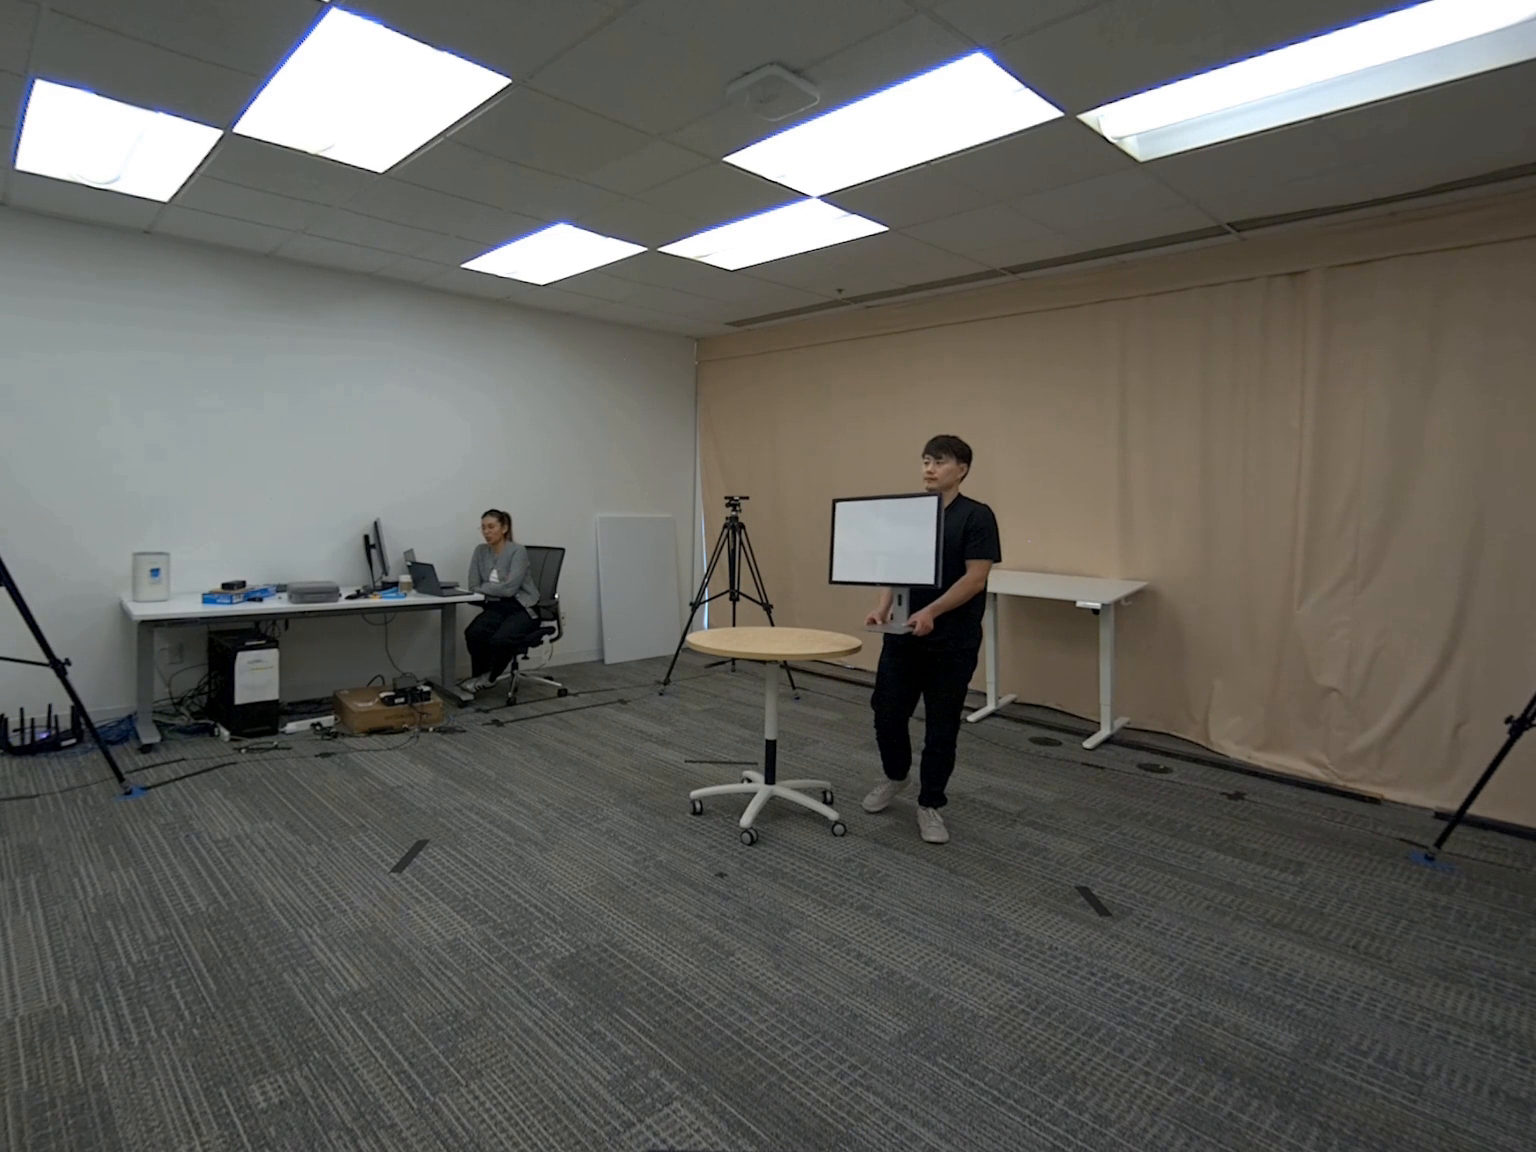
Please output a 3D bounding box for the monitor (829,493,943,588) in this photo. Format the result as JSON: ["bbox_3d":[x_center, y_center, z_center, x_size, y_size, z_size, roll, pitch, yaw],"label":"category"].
[{"bbox_3d":[0.475,-0.056,3.367,0.183,0.520,0.552,-10,7,-41],"label":"monitor"}]
